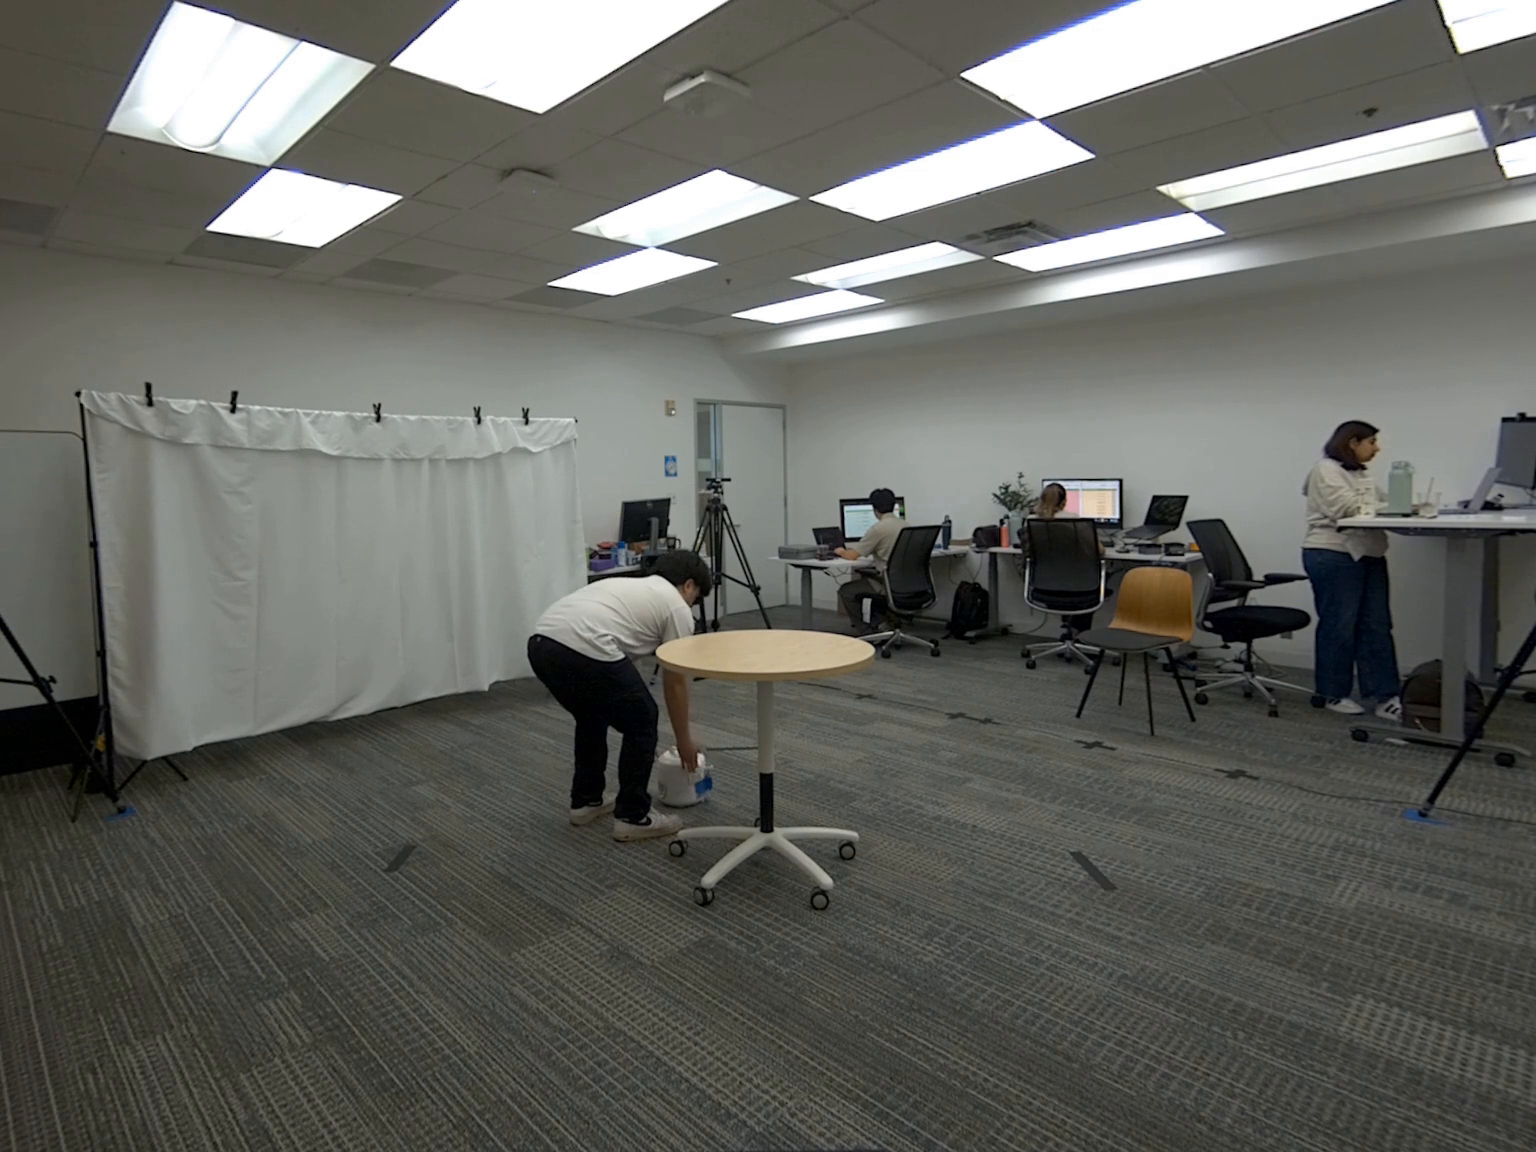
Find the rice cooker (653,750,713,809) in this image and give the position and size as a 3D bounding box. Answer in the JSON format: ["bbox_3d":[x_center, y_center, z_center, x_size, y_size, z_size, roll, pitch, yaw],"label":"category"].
[{"bbox_3d":[-0.377,0.860,3.717,0.212,0.232,0.227,-5,6,-39],"label":"rice cooker"}]
